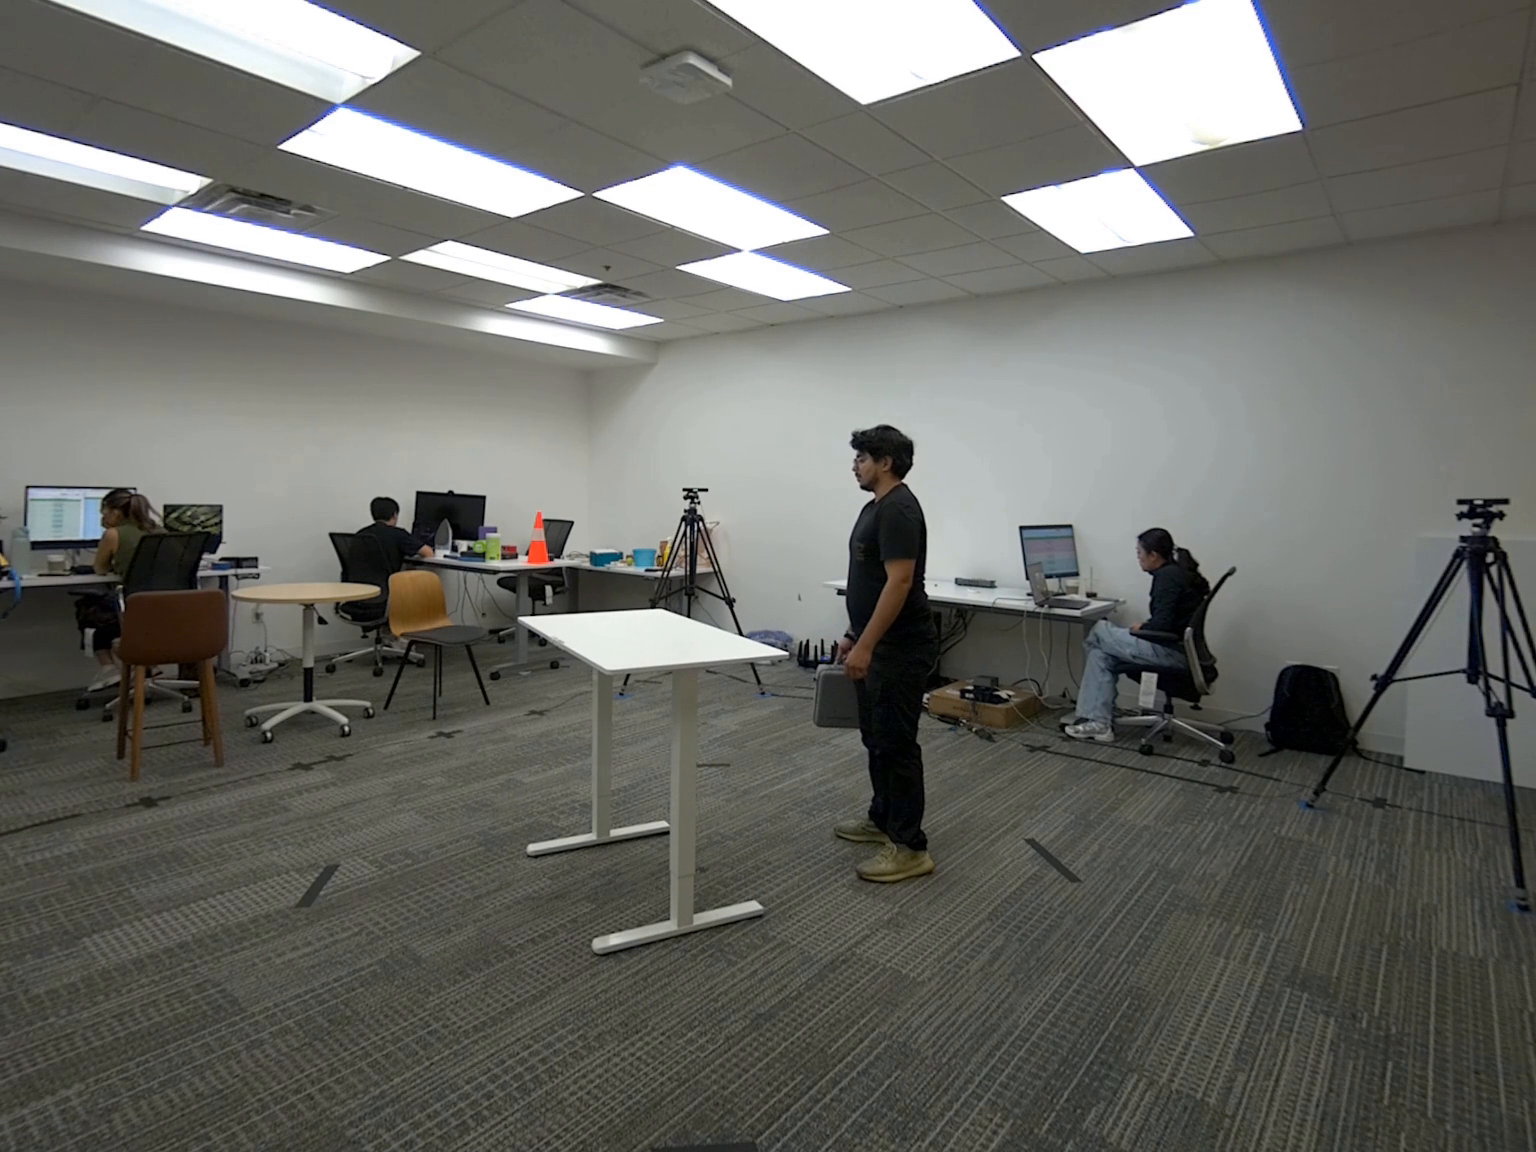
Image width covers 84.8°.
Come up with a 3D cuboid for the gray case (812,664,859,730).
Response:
[{"bbox_3d":[0.316,0.498,3.546,0.256,0.258,0.106,3,10,-4],"label":"gray case"}]
